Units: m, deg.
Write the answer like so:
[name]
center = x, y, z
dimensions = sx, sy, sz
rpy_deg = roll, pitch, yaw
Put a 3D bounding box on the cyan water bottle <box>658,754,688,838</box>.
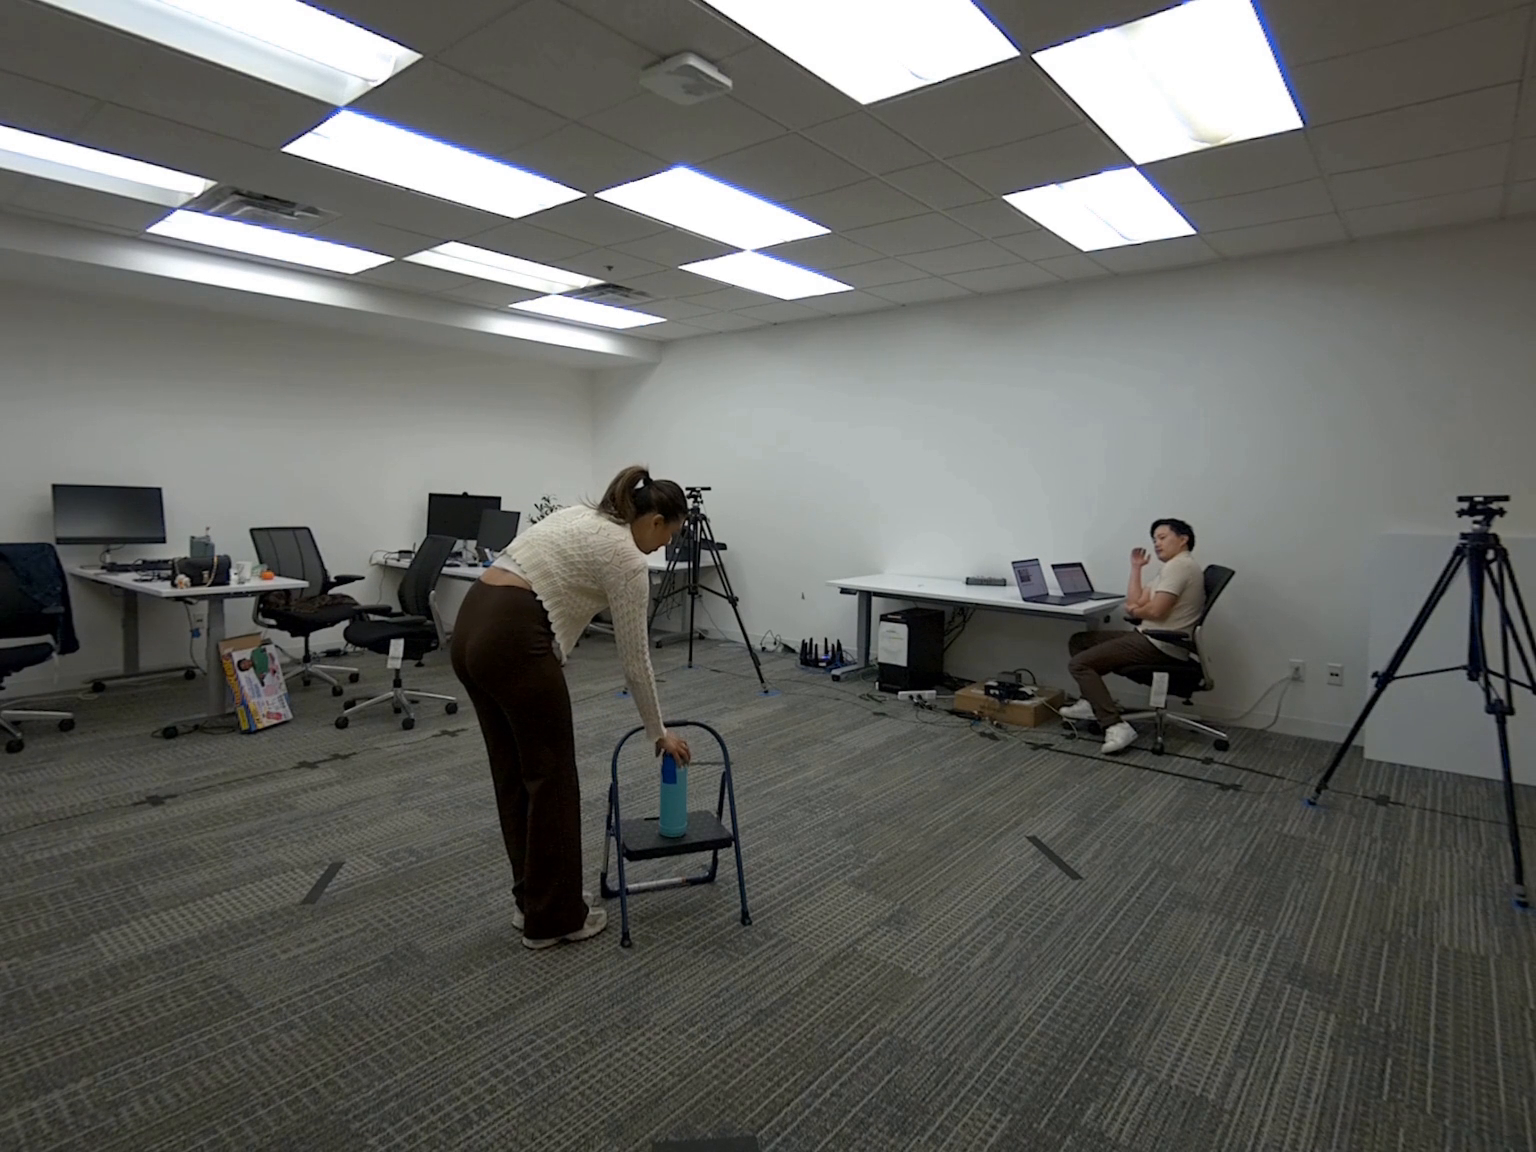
[cyan water bottle]
center = -0.323, 0.698, 2.768
dimensions = 0.092, 0.282, 0.093
rpy_deg = -3, 3, -2
